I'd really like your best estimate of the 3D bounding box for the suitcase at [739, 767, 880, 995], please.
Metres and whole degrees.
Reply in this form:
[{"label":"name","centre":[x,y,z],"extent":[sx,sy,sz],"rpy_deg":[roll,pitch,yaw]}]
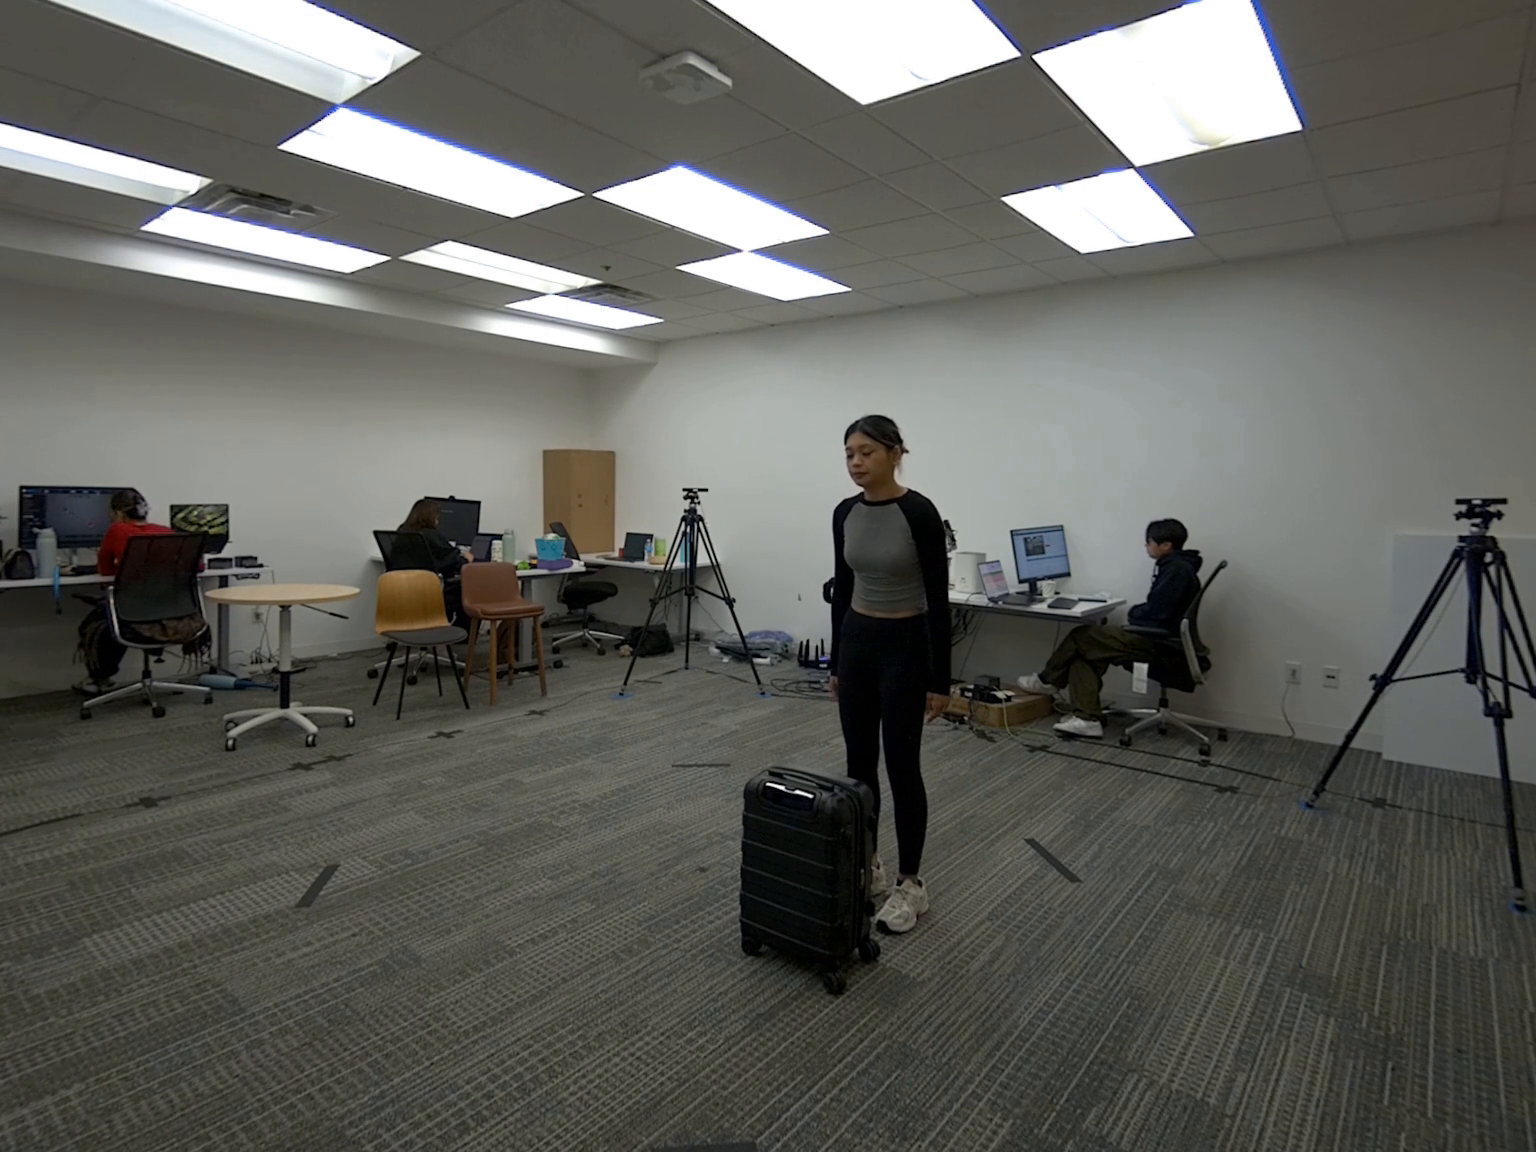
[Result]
[{"label":"suitcase","centre":[0.108,0.857,2.541],"extent":[0.387,0.548,0.241],"rpy_deg":[2,3,36]}]
